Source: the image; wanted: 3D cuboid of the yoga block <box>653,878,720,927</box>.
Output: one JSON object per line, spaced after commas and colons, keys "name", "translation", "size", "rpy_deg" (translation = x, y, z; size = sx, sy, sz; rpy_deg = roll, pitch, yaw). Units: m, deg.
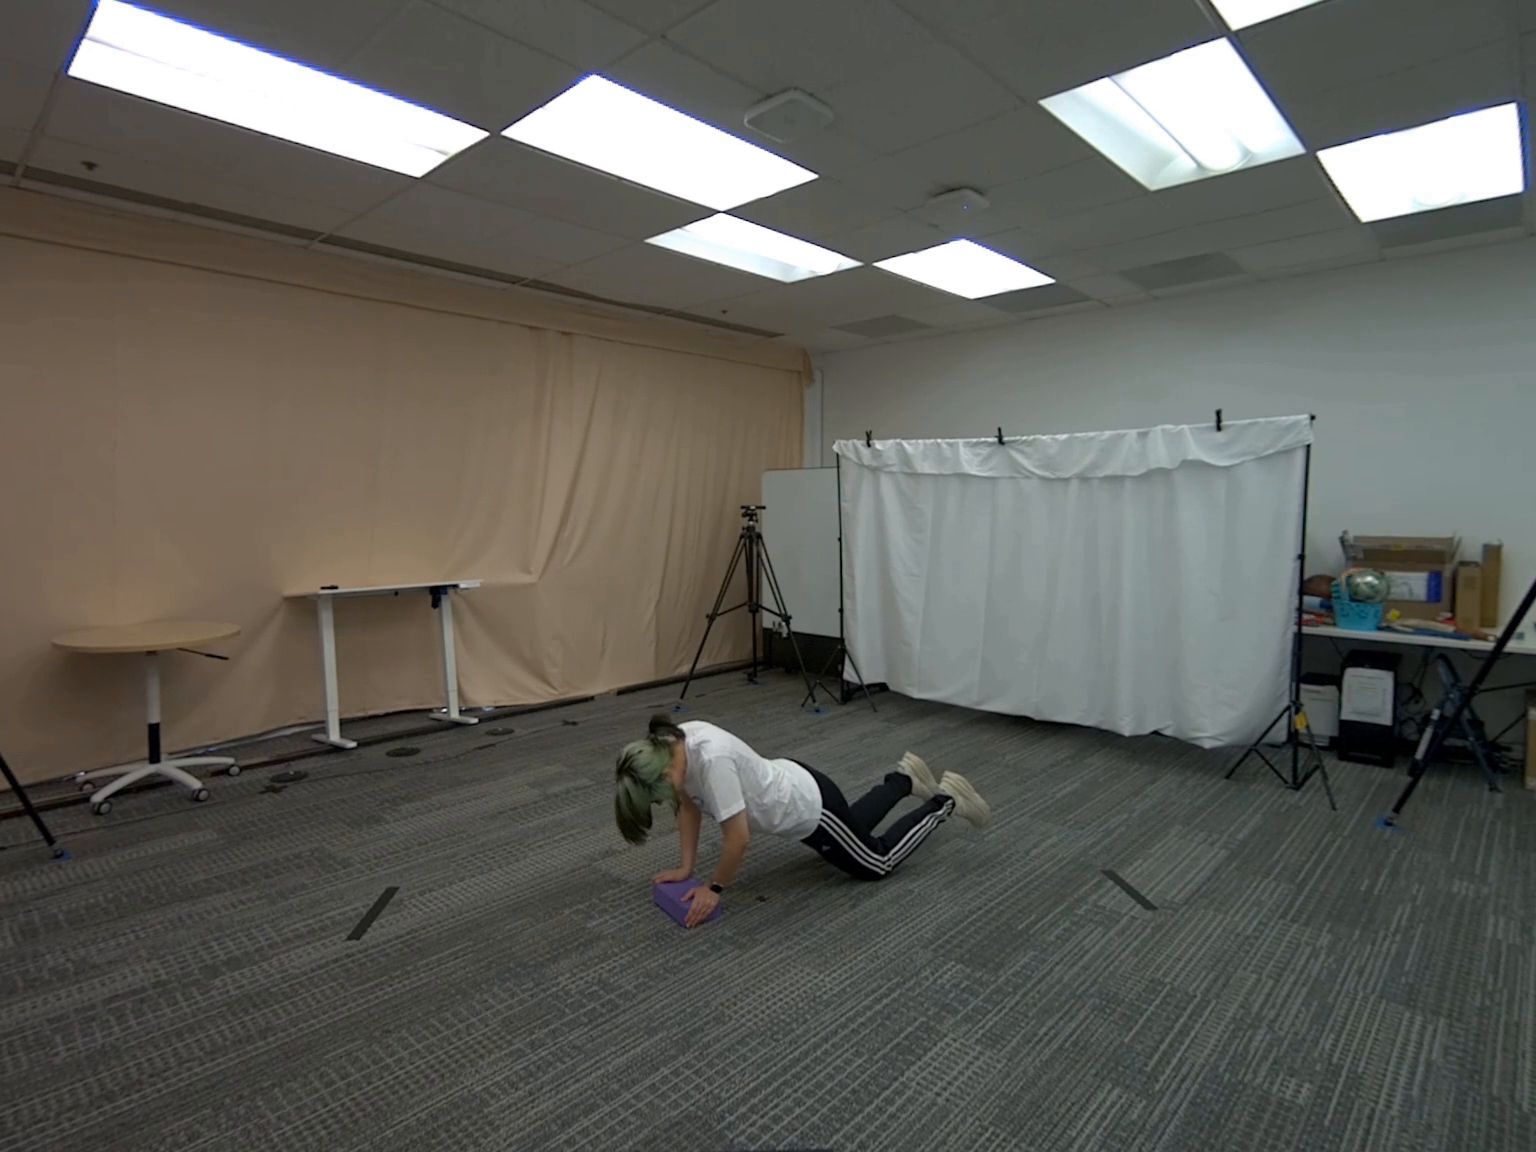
{"name": "yoga block", "translation": [-0.278, 1.118, 2.906], "size": [0.145, 0.076, 0.236], "rpy_deg": [-6, 8, -34]}
